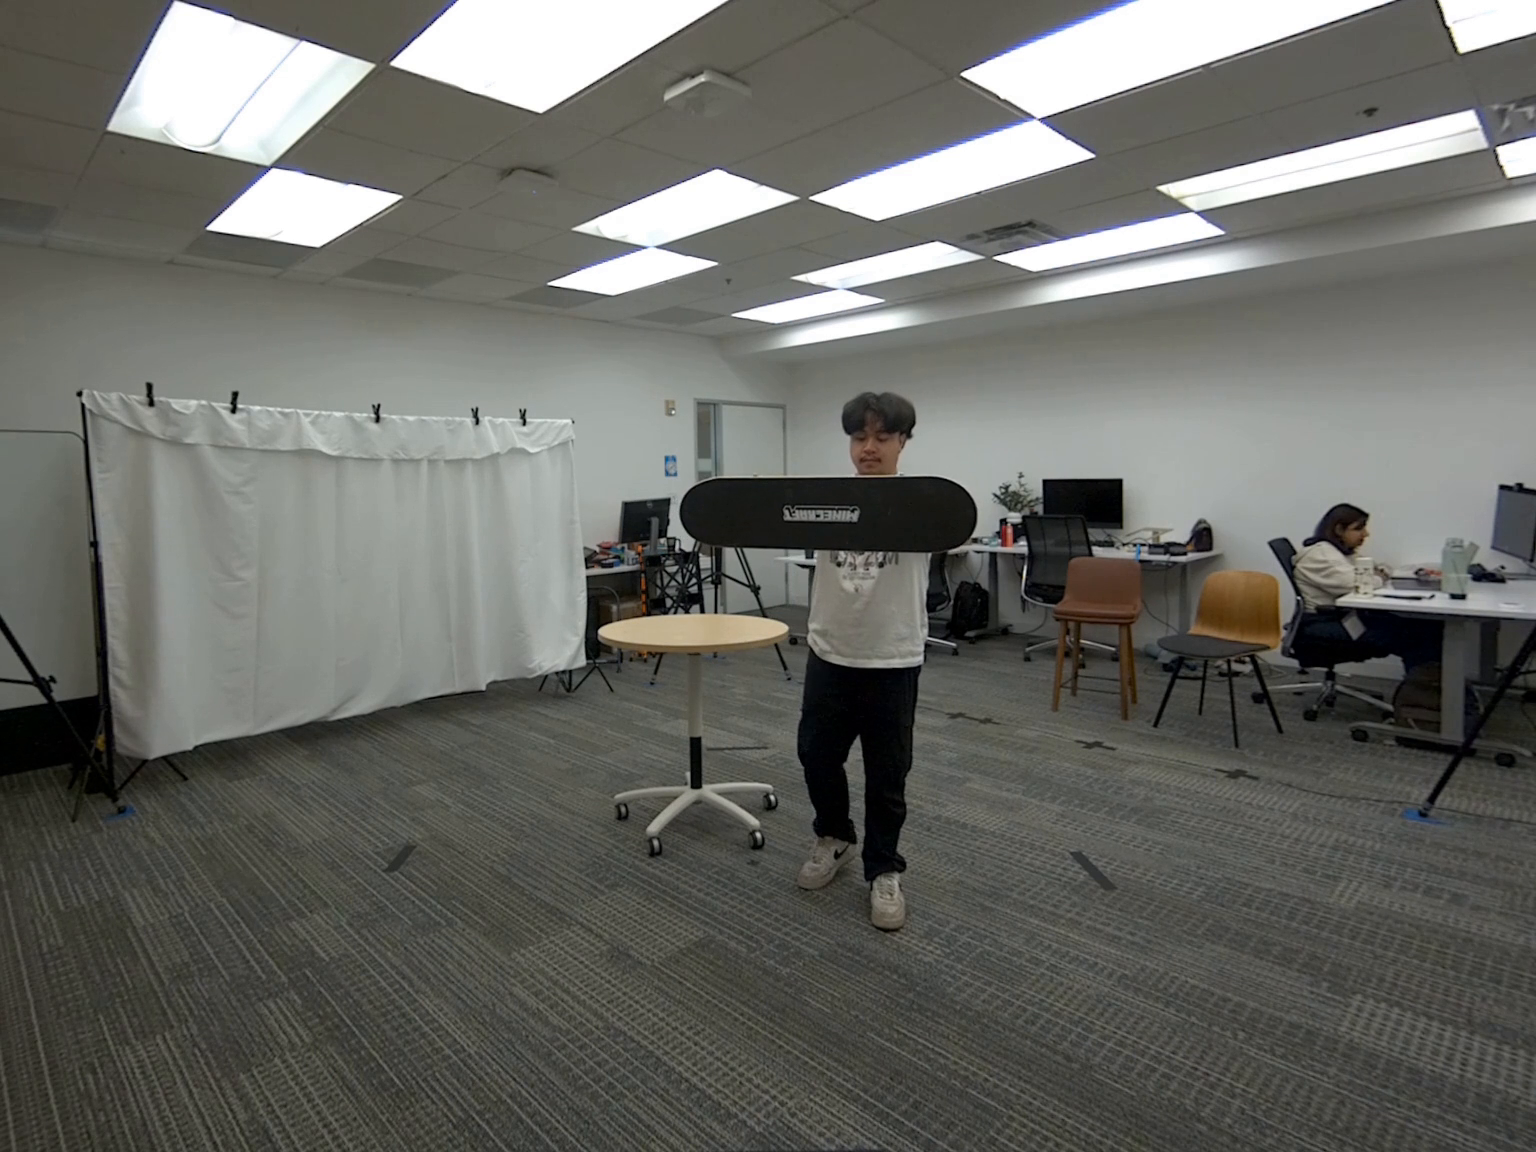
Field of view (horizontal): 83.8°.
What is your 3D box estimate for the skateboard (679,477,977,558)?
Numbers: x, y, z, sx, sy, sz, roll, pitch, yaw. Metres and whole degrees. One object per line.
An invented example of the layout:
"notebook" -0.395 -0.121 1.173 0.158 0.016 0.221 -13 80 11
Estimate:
"skateboard" 0.134 -0.164 2.241 0.803 0.192 0.109 2 9 24
